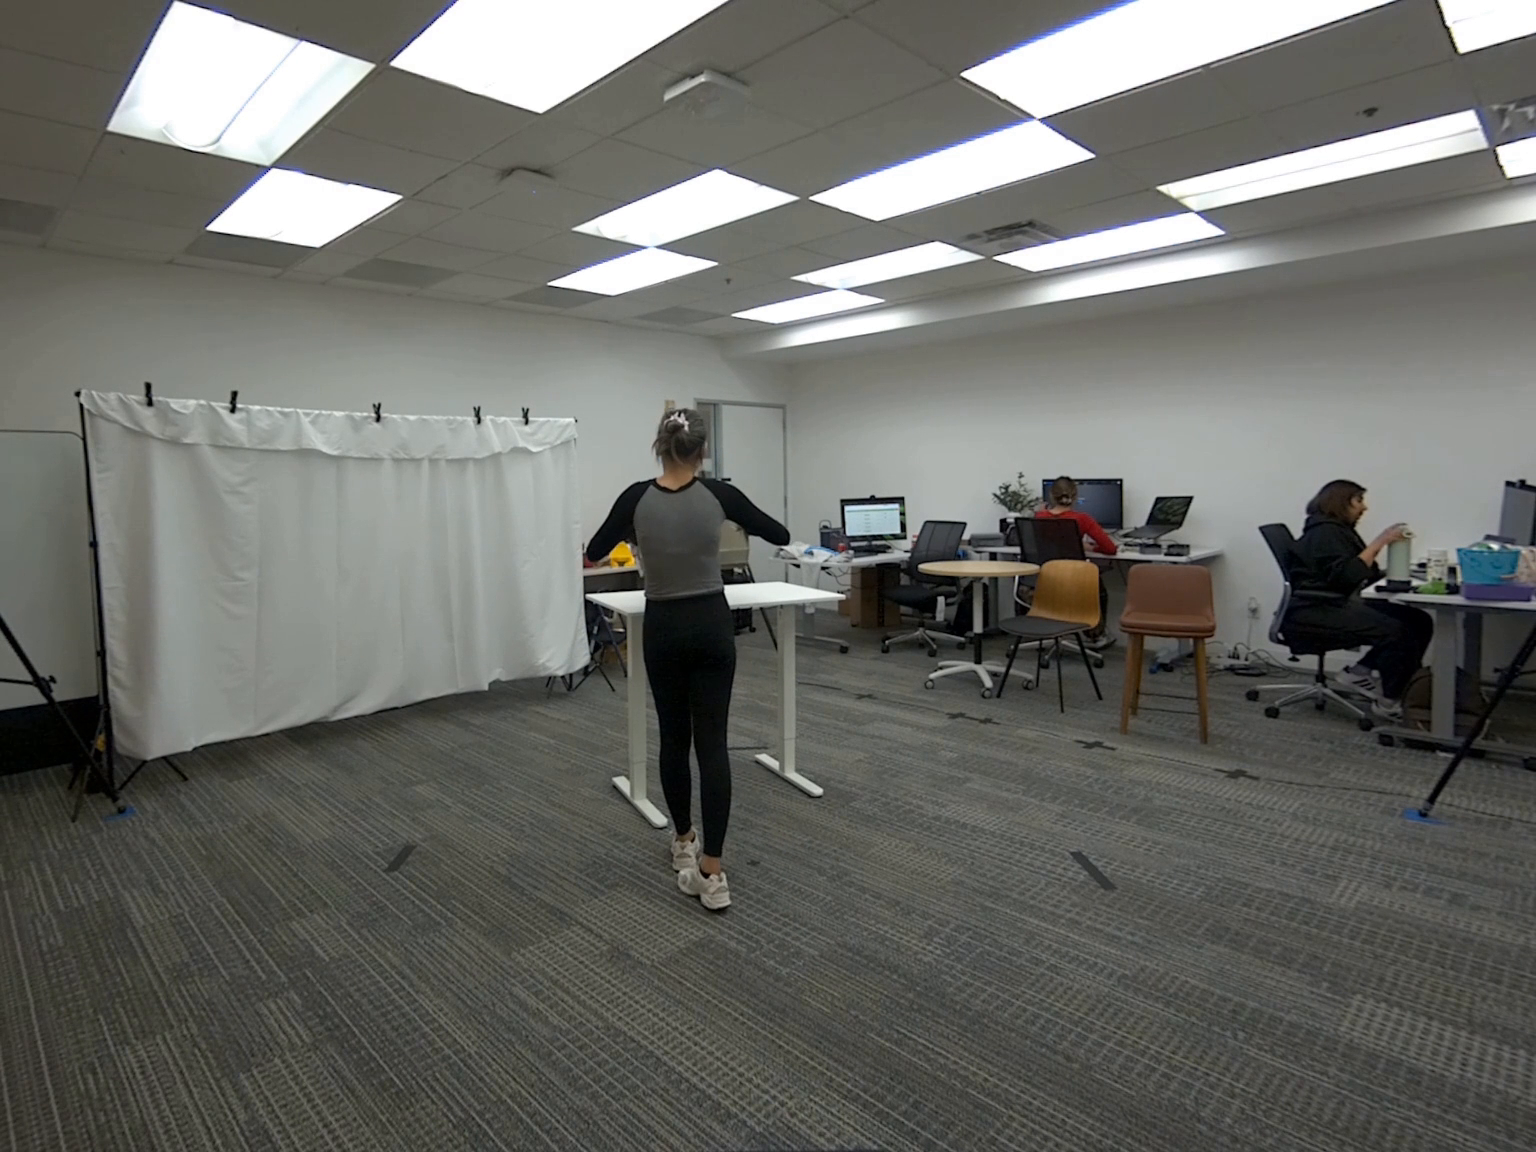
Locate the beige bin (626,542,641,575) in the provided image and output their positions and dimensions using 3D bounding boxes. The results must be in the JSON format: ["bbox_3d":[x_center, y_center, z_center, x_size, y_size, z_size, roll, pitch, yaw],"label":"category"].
[{"bbox_3d":[-0.303,-0.130,3.380,0.418,0.187,0.384,-5,10,-12],"label":"beige bin"}]
